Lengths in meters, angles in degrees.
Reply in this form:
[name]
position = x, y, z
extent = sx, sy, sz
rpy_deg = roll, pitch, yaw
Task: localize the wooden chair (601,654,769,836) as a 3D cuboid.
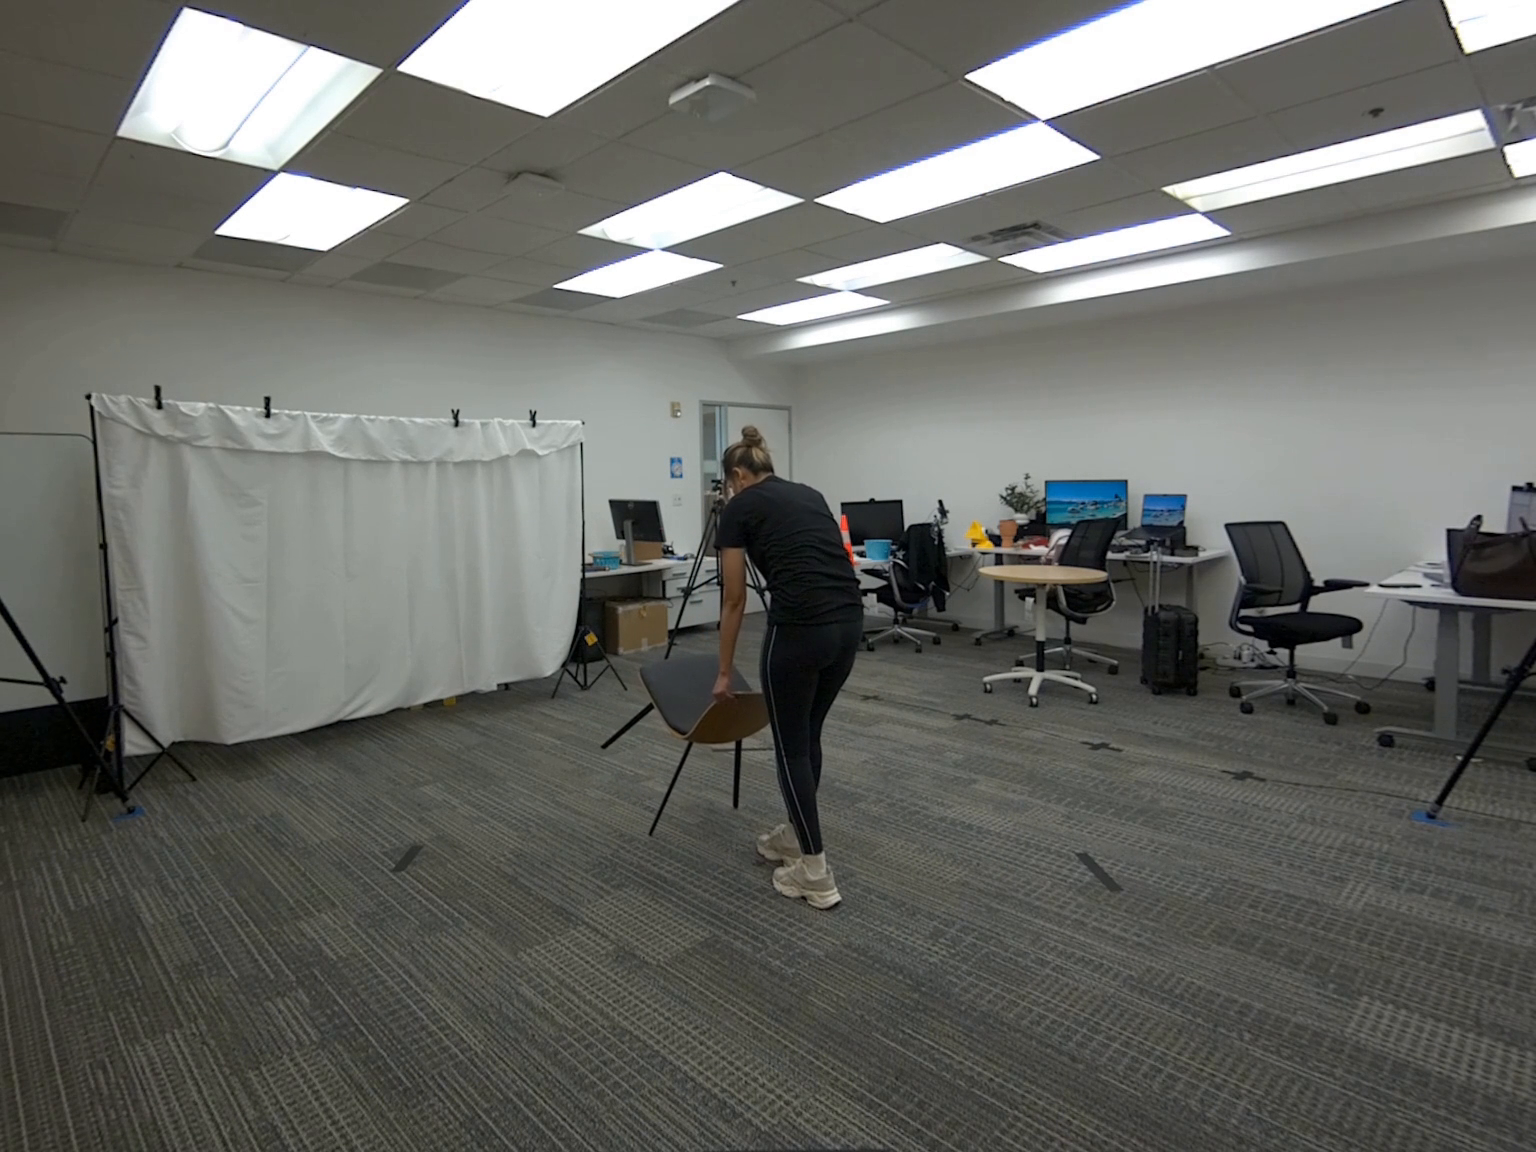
[wooden chair]
position = -0.260, 0.531, 3.420
extent = 0.465, 0.870, 0.542
rpy_deg = -4, 47, -40
